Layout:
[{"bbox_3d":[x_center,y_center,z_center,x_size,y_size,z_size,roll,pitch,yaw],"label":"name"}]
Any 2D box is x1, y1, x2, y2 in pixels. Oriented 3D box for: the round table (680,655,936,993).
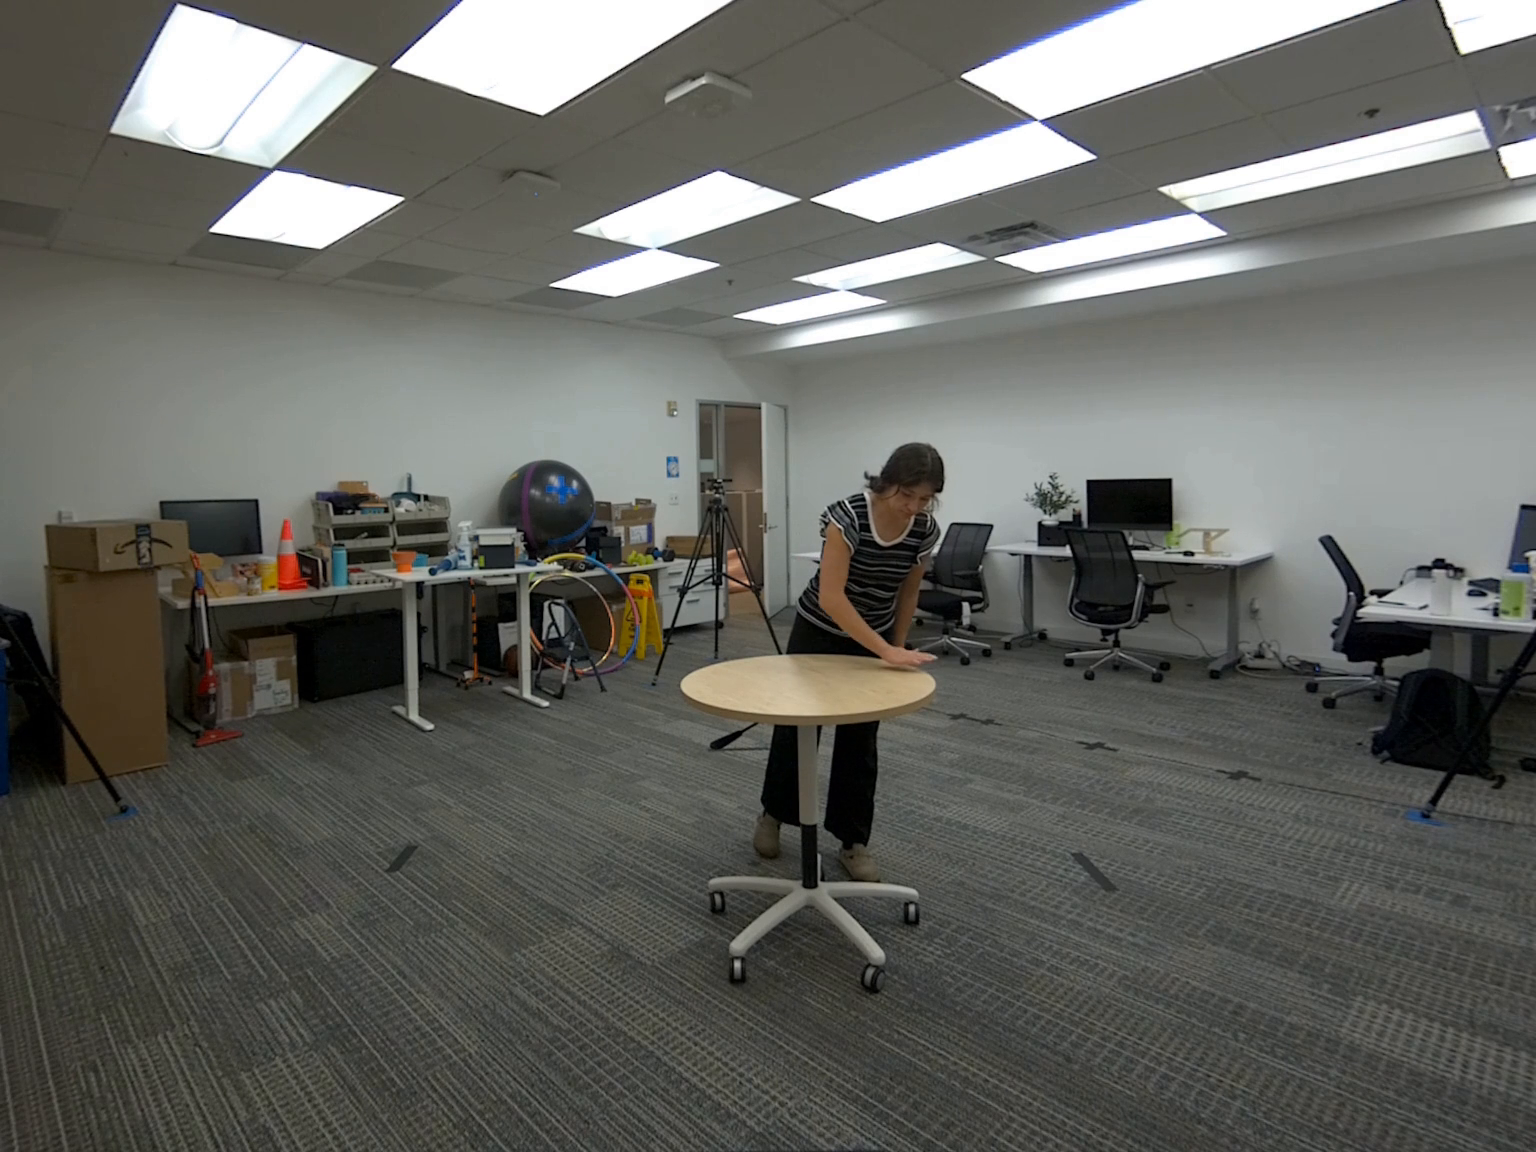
[{"bbox_3d":[0.129,0.714,2.607,0.763,0.791,0.768,-2,5,-2],"label":"round table"}]
